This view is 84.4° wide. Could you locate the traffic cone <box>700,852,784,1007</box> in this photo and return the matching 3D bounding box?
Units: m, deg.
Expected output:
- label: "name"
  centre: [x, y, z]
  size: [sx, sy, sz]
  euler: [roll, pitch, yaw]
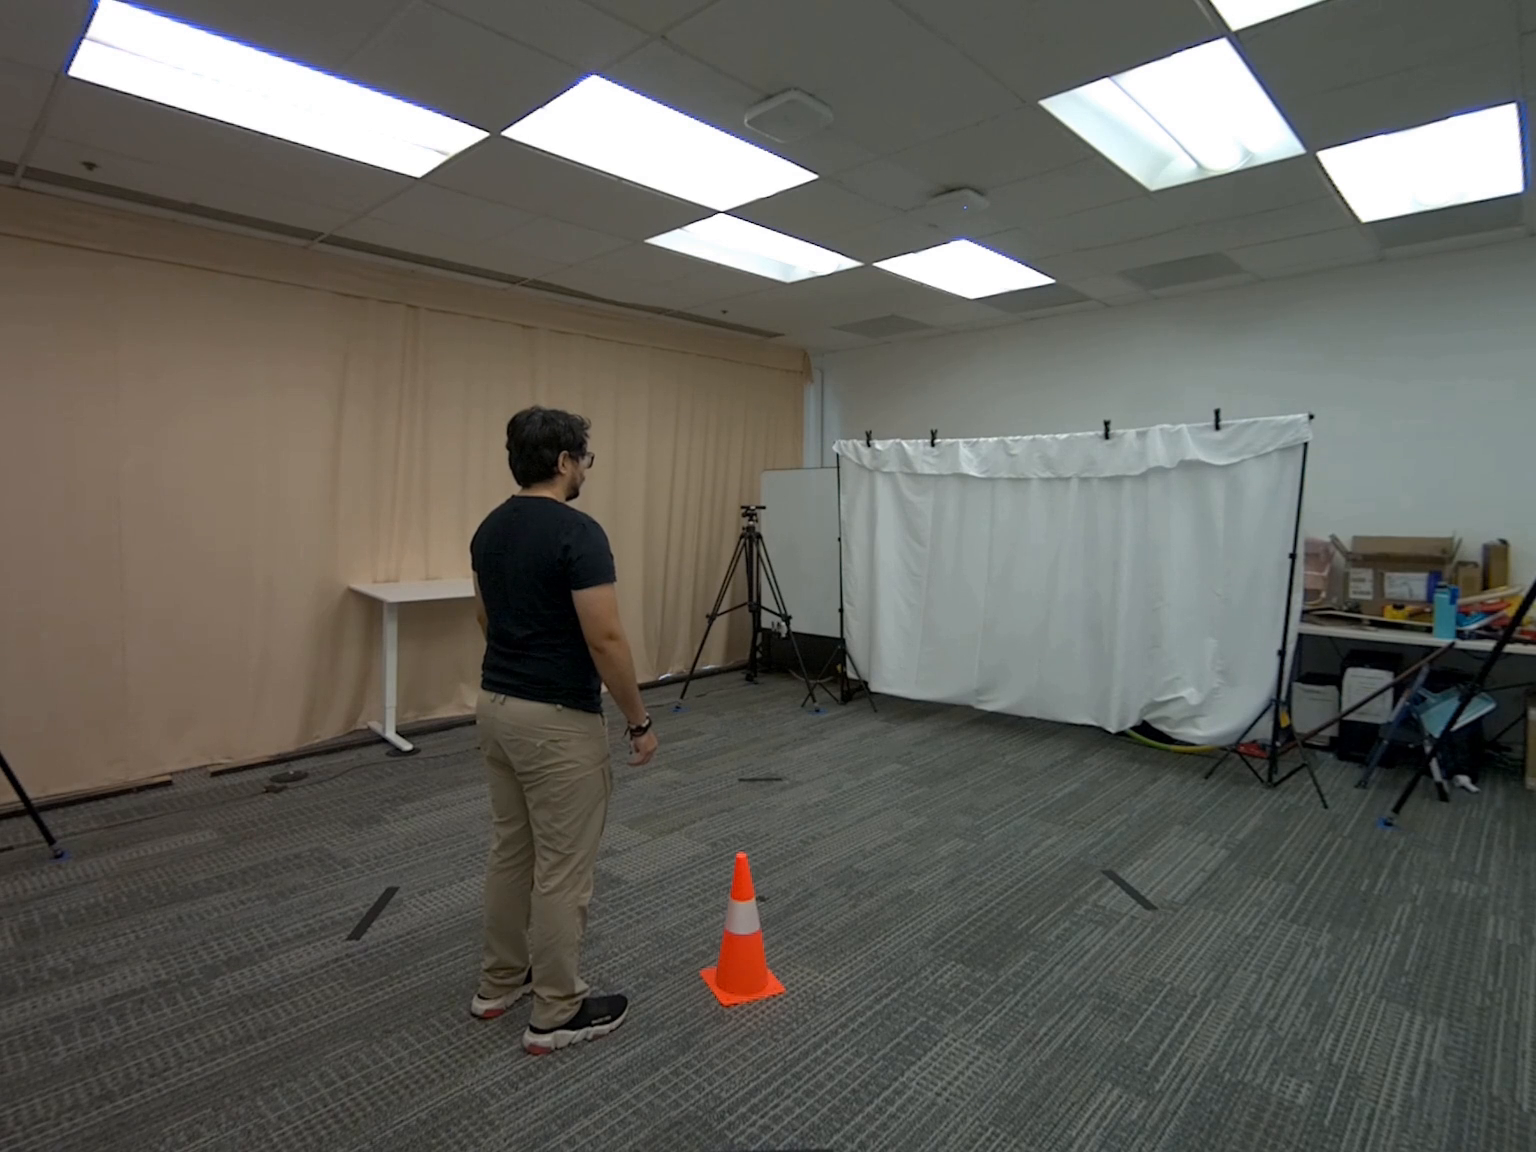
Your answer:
- label: "traffic cone"
  centre: [-0.077, 1.007, 2.447]
  size: [0.200, 0.383, 0.209]
  euler: [-3, 3, -27]
